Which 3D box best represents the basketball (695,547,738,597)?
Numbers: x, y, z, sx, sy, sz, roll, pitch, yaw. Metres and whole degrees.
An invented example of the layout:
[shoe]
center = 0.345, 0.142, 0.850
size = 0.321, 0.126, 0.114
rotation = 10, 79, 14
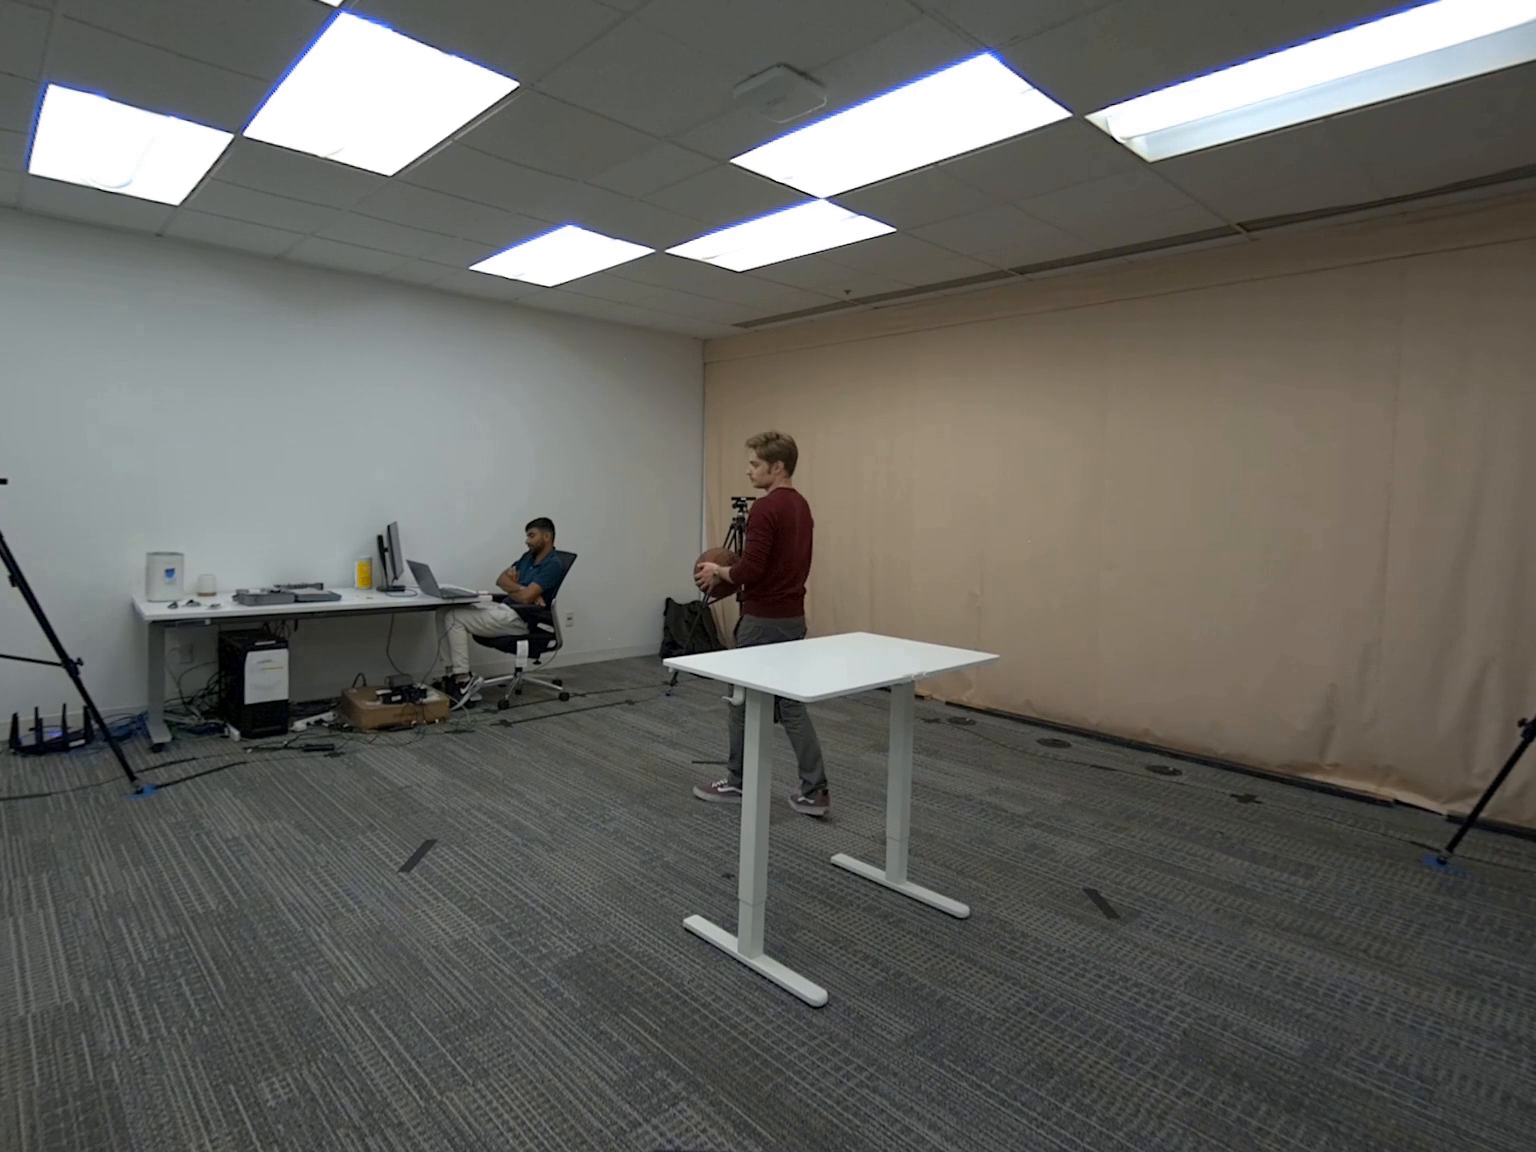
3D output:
[basketball]
center = -0.223, -0.014, 3.939
size = 0.236, 0.235, 0.237
rotation = 1, 4, -1
